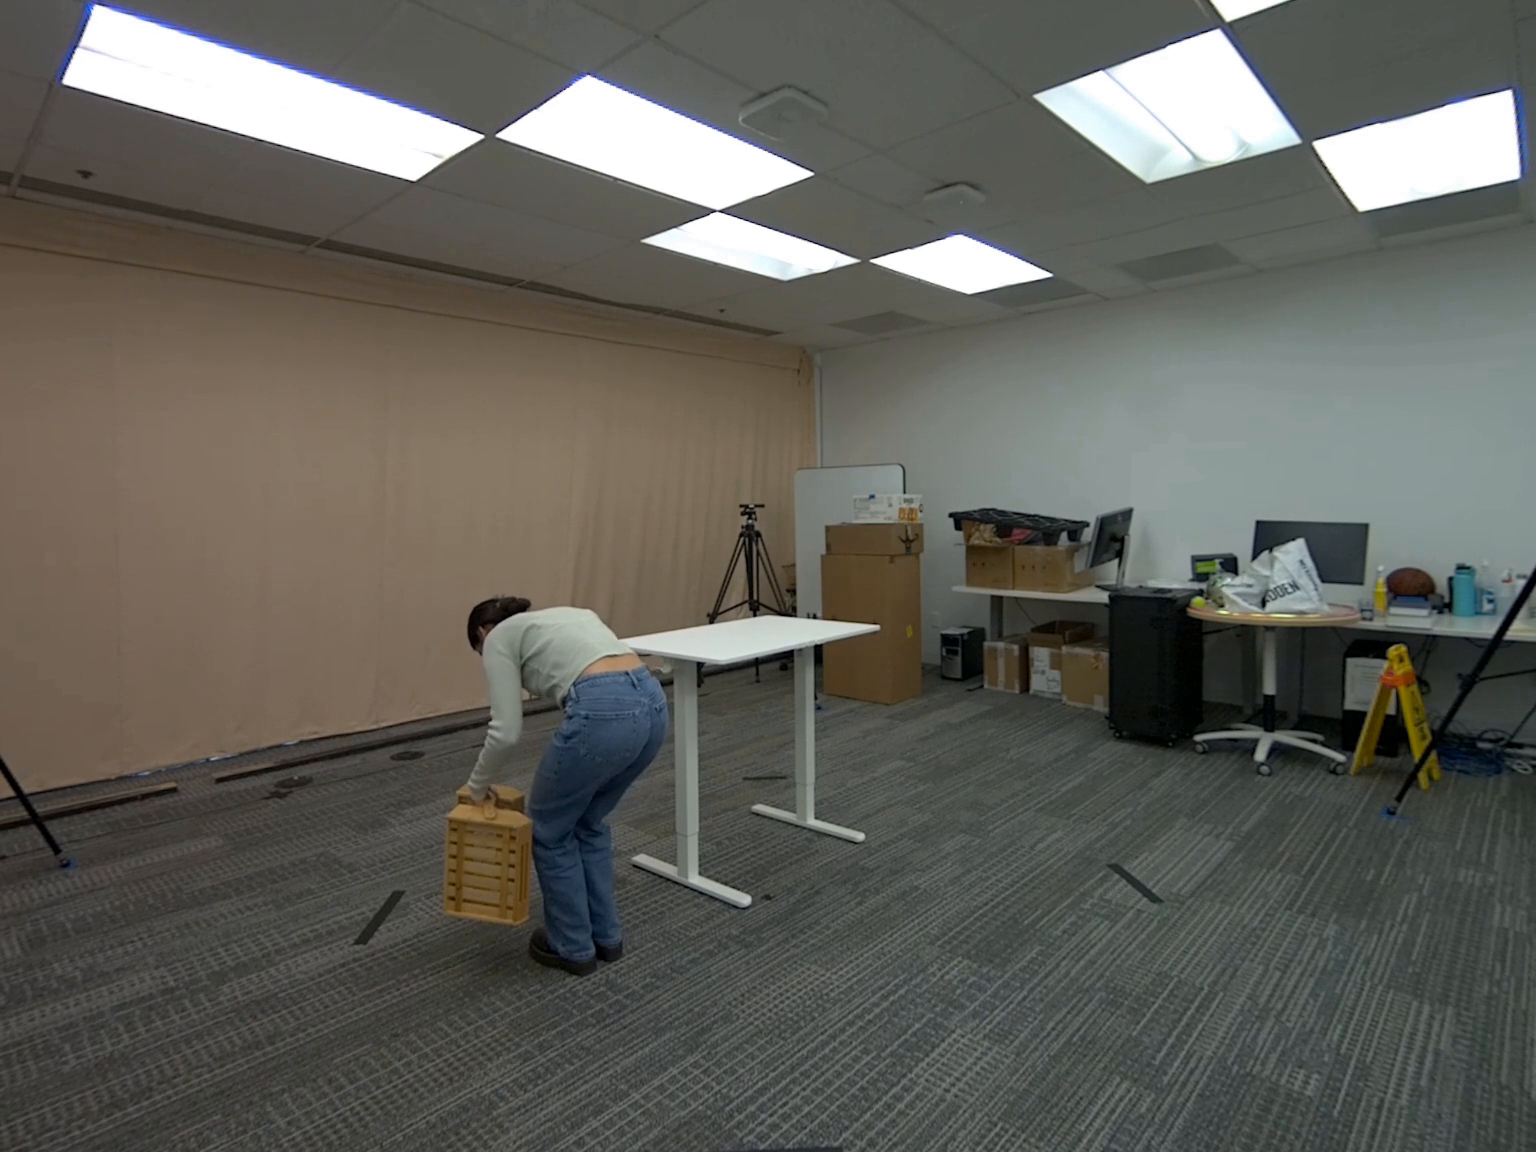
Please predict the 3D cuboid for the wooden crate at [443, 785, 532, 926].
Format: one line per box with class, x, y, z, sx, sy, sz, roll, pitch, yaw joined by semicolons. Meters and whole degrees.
wooden crate;-0.845;0.850;2.574;0.305;0.323;0.272;5;7;7
